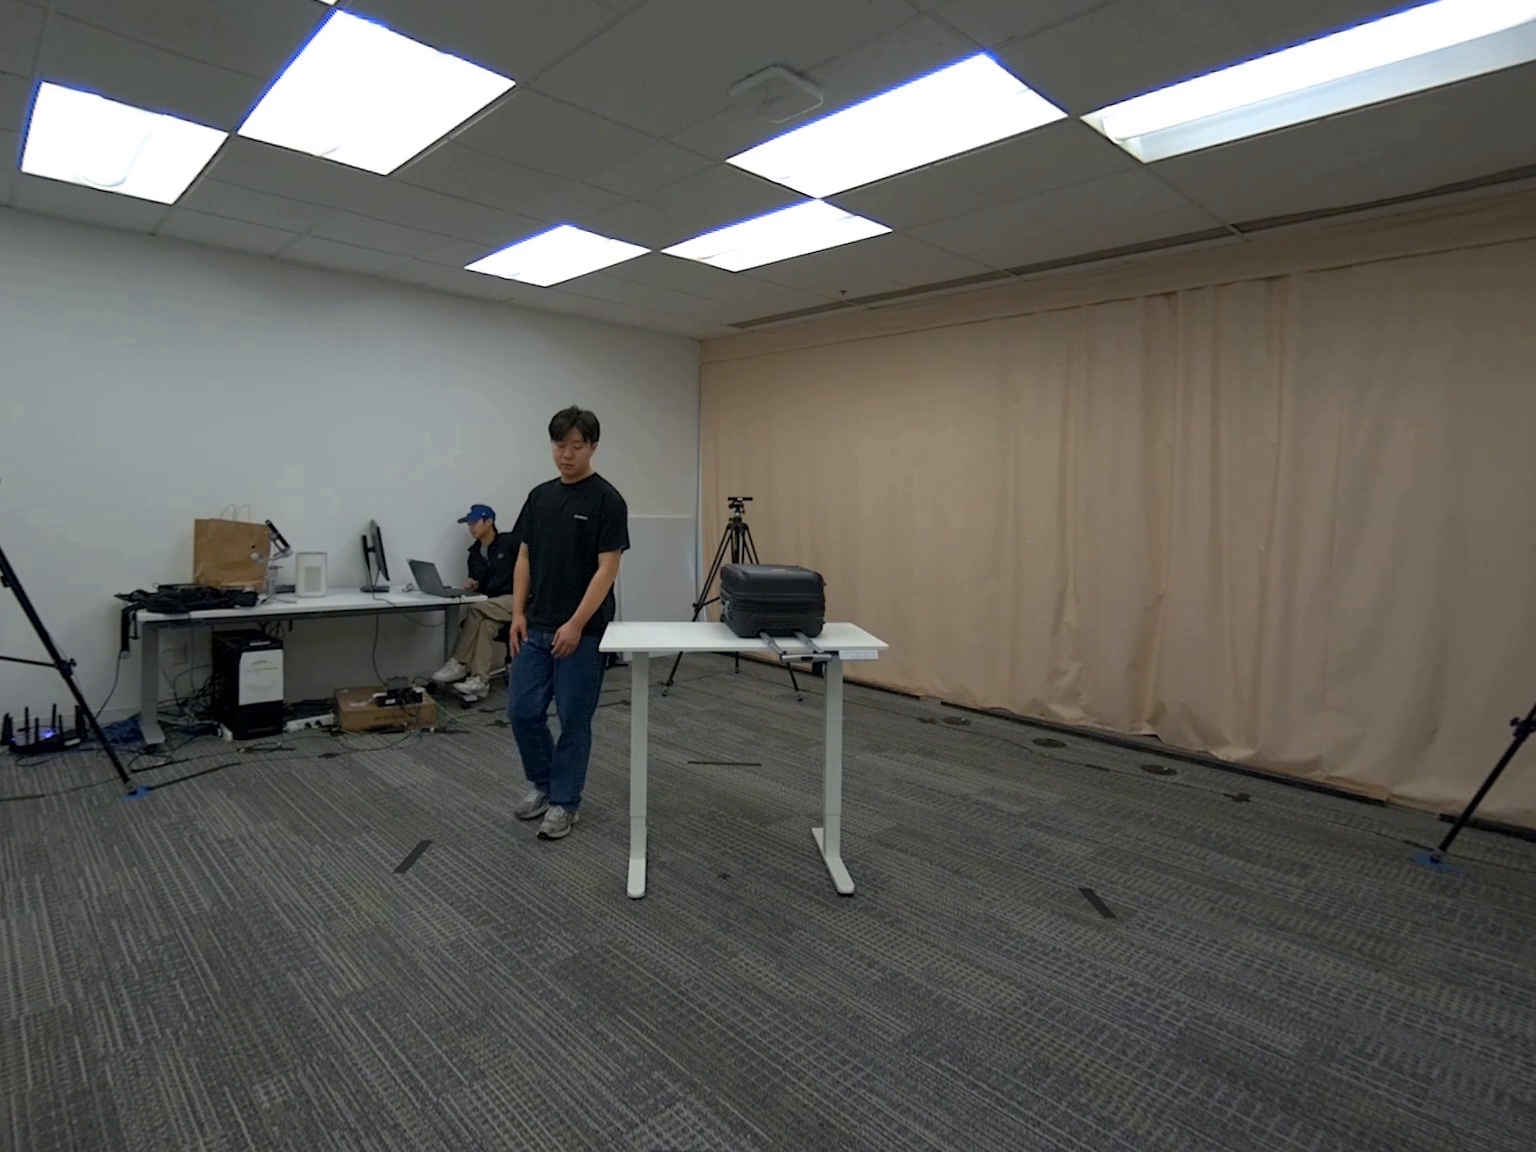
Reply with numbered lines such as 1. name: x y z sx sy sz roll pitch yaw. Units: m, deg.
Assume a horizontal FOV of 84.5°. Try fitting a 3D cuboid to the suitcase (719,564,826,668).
1. suitcase: 0.035 0.106 3.098 0.381 0.257 0.987 1 3 -10
